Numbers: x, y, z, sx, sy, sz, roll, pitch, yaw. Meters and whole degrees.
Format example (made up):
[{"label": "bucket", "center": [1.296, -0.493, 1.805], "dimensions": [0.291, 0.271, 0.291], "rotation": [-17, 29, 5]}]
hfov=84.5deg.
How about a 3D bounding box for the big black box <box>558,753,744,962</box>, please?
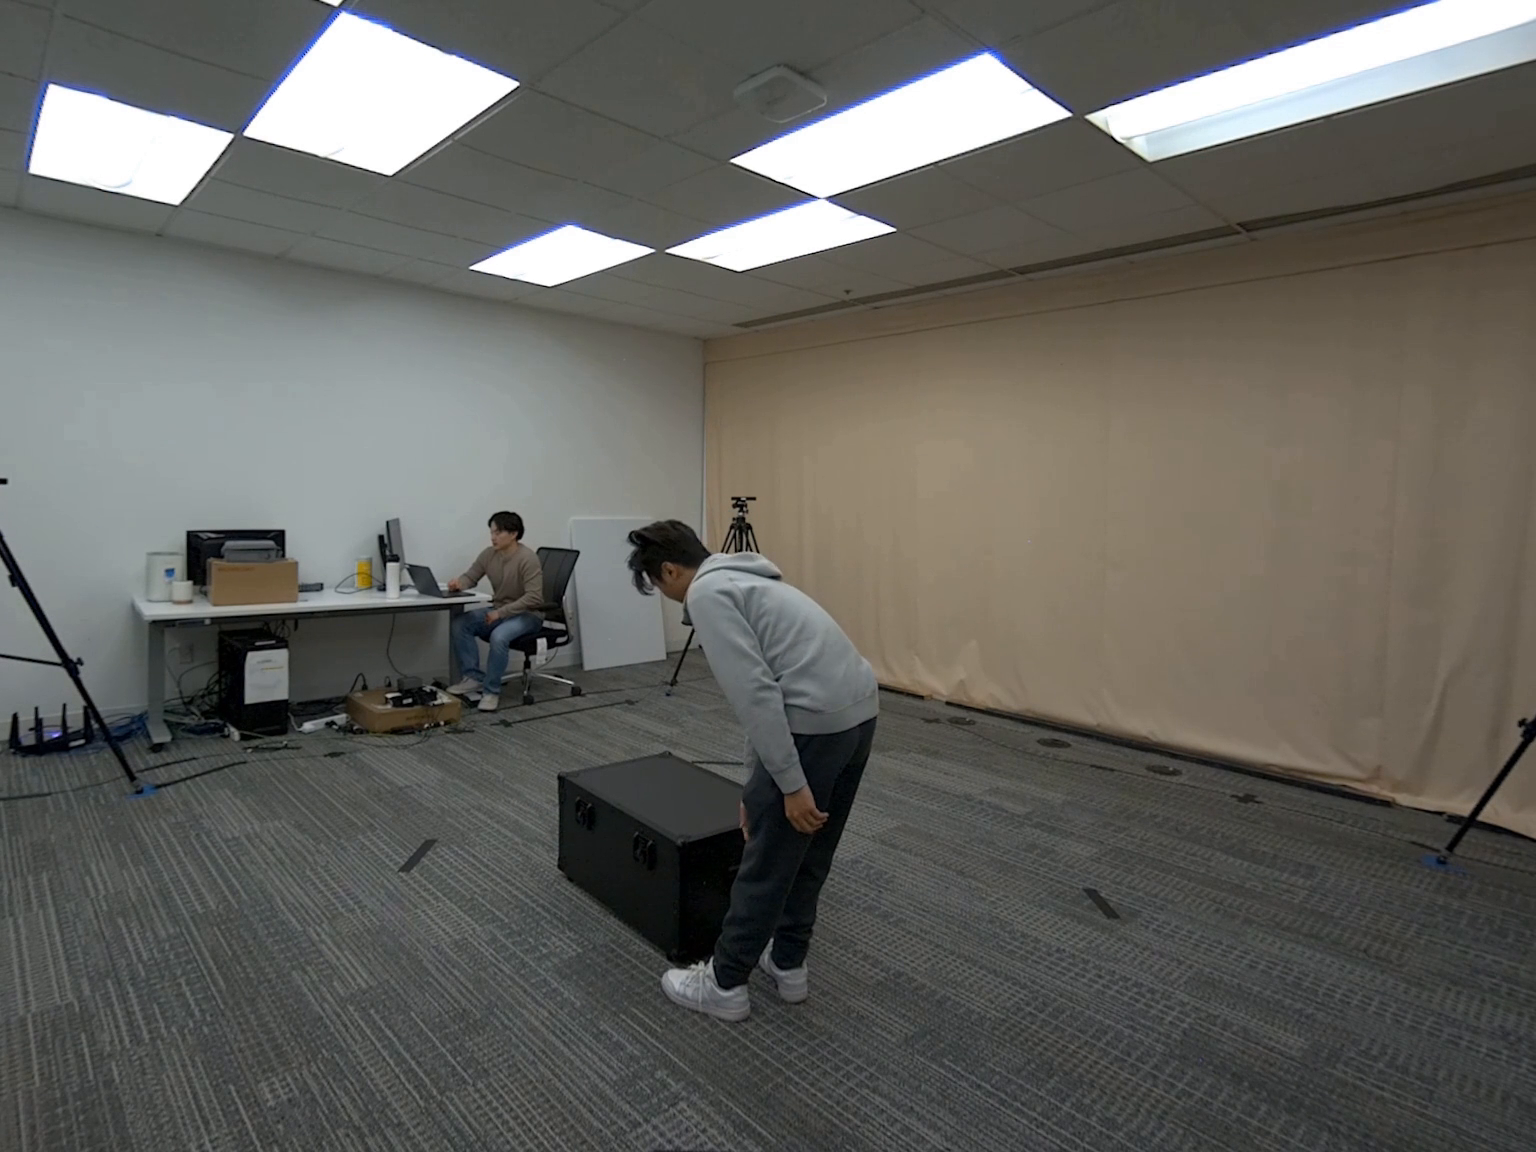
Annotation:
[{"label": "big black box", "center": [-0.354, 0.927, 2.942], "dimensions": [0.509, 0.395, 0.884], "rotation": [-2, 6, -40]}]
